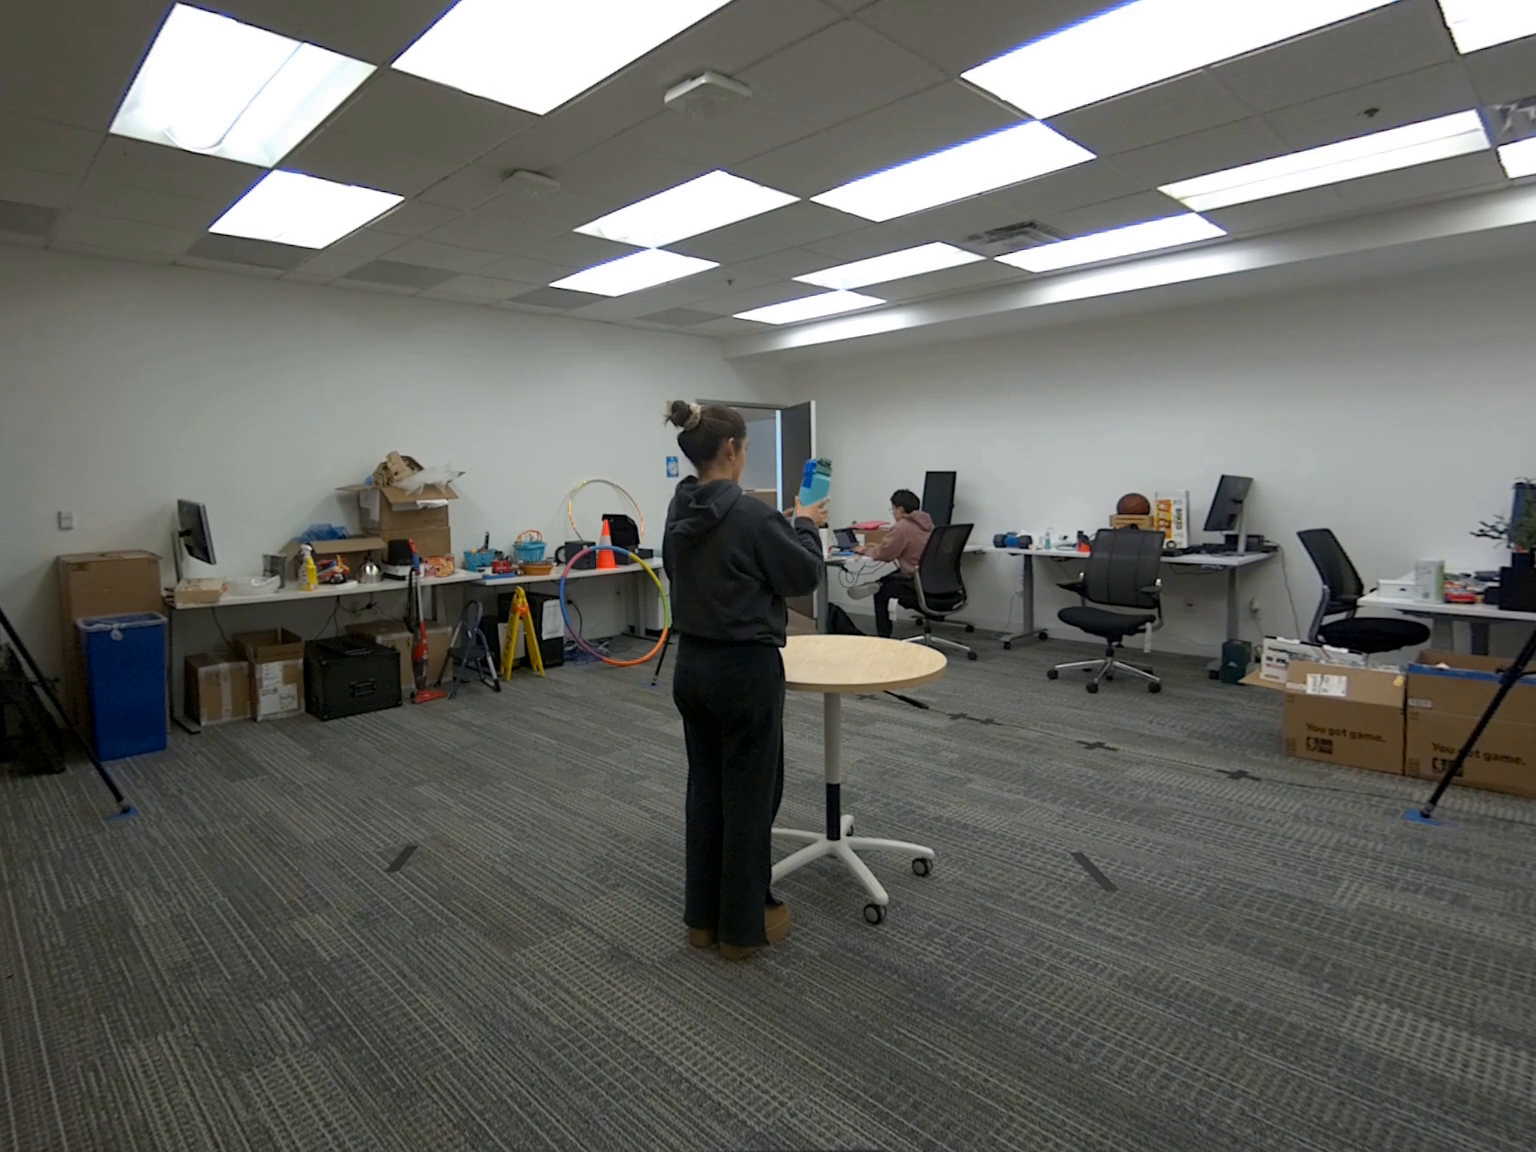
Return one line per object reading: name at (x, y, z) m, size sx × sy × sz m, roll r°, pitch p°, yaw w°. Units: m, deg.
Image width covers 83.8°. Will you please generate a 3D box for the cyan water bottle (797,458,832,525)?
cyan water bottle at (0.135, -0.223, 2.735) m, size 0.092 × 0.283 × 0.092 m, roll 13°, pitch 2°, yaw -2°
